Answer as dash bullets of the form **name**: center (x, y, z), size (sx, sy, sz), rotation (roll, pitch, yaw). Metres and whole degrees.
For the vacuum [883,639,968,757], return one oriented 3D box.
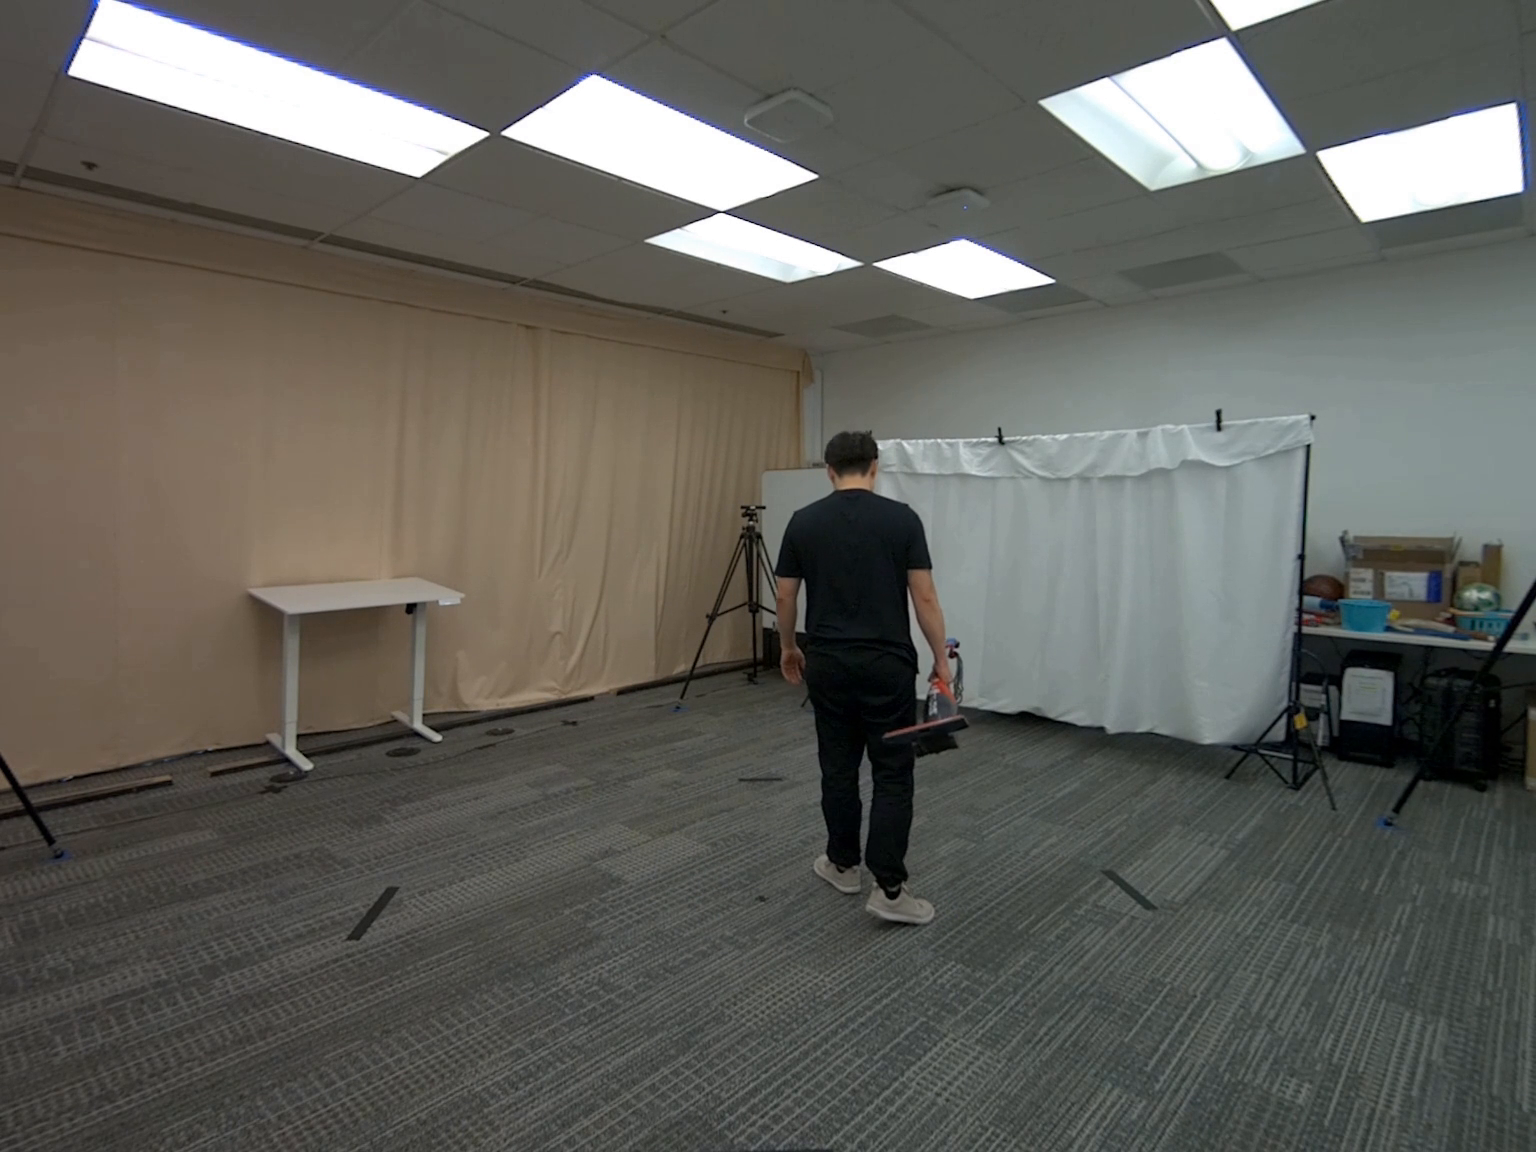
- **vacuum**: center (0.641, 0.394, 3.012), size (0.257, 0.143, 1.036), rotation (-17, 6, 20)
